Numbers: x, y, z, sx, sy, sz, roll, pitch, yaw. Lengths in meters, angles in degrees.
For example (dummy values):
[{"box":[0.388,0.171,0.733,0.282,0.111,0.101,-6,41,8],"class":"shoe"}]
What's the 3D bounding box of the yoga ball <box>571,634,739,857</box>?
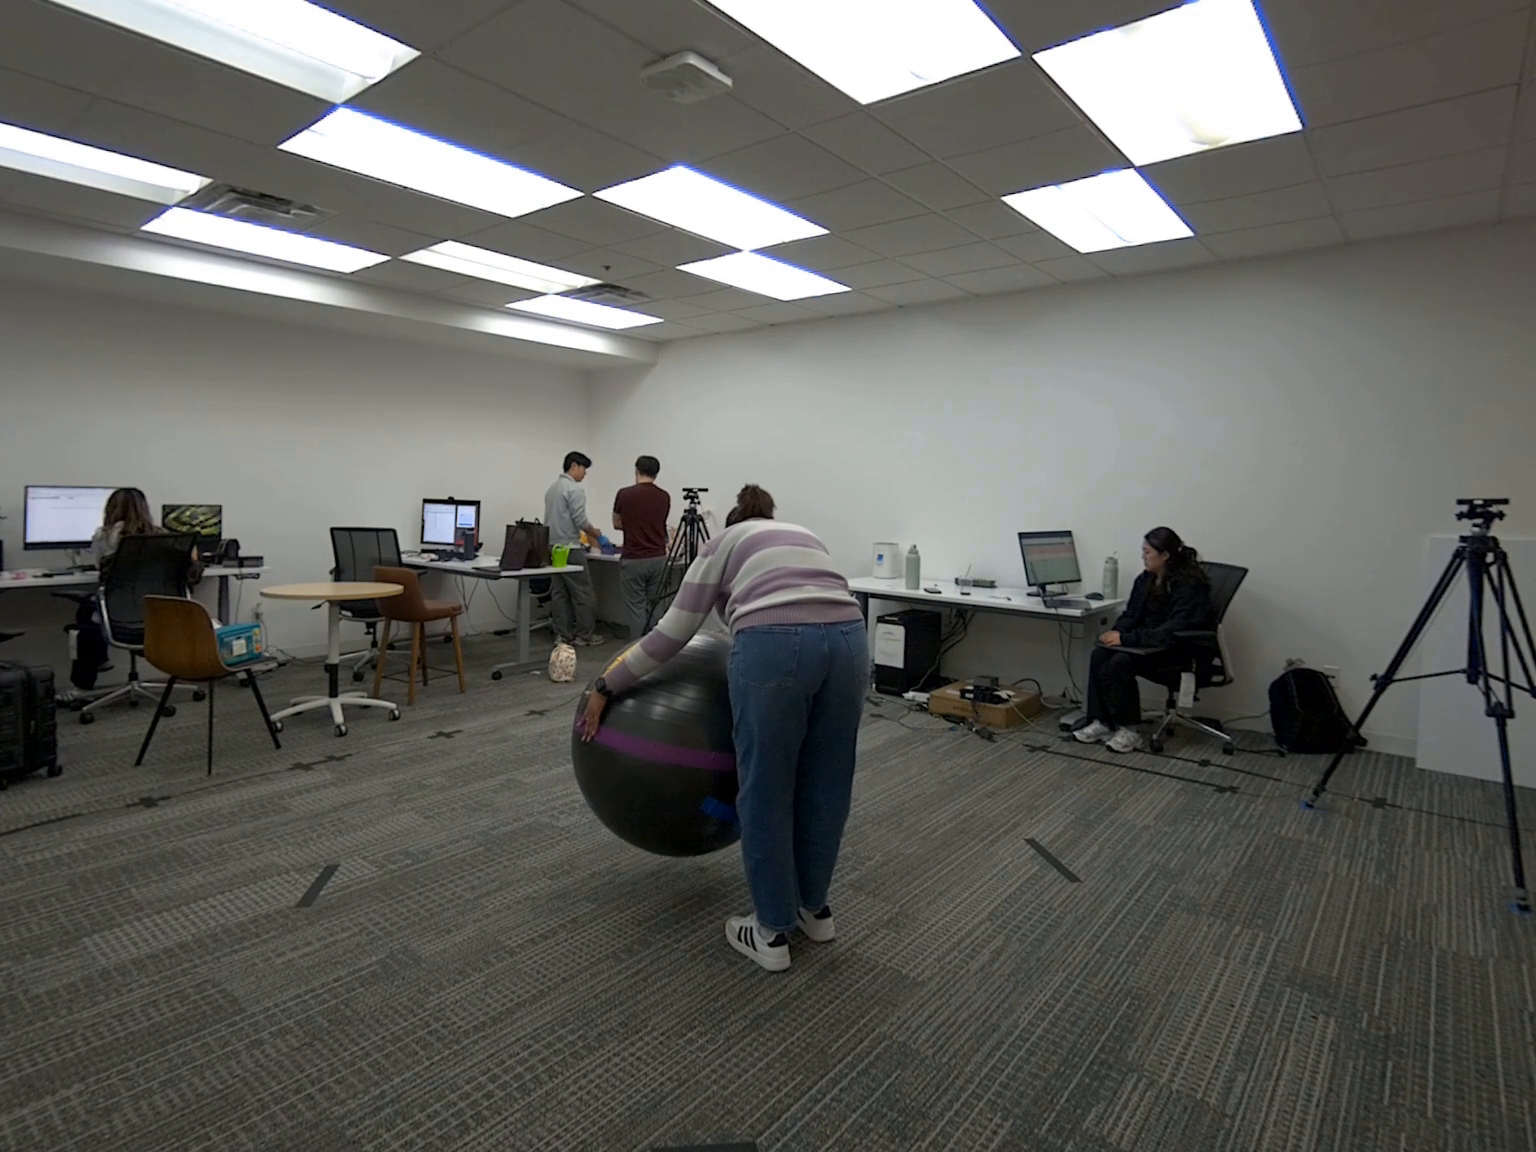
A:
[{"box":[-0.305,0.570,2.942,0.757,0.756,0.762,1,4,-2],"class":"yoga ball"}]
